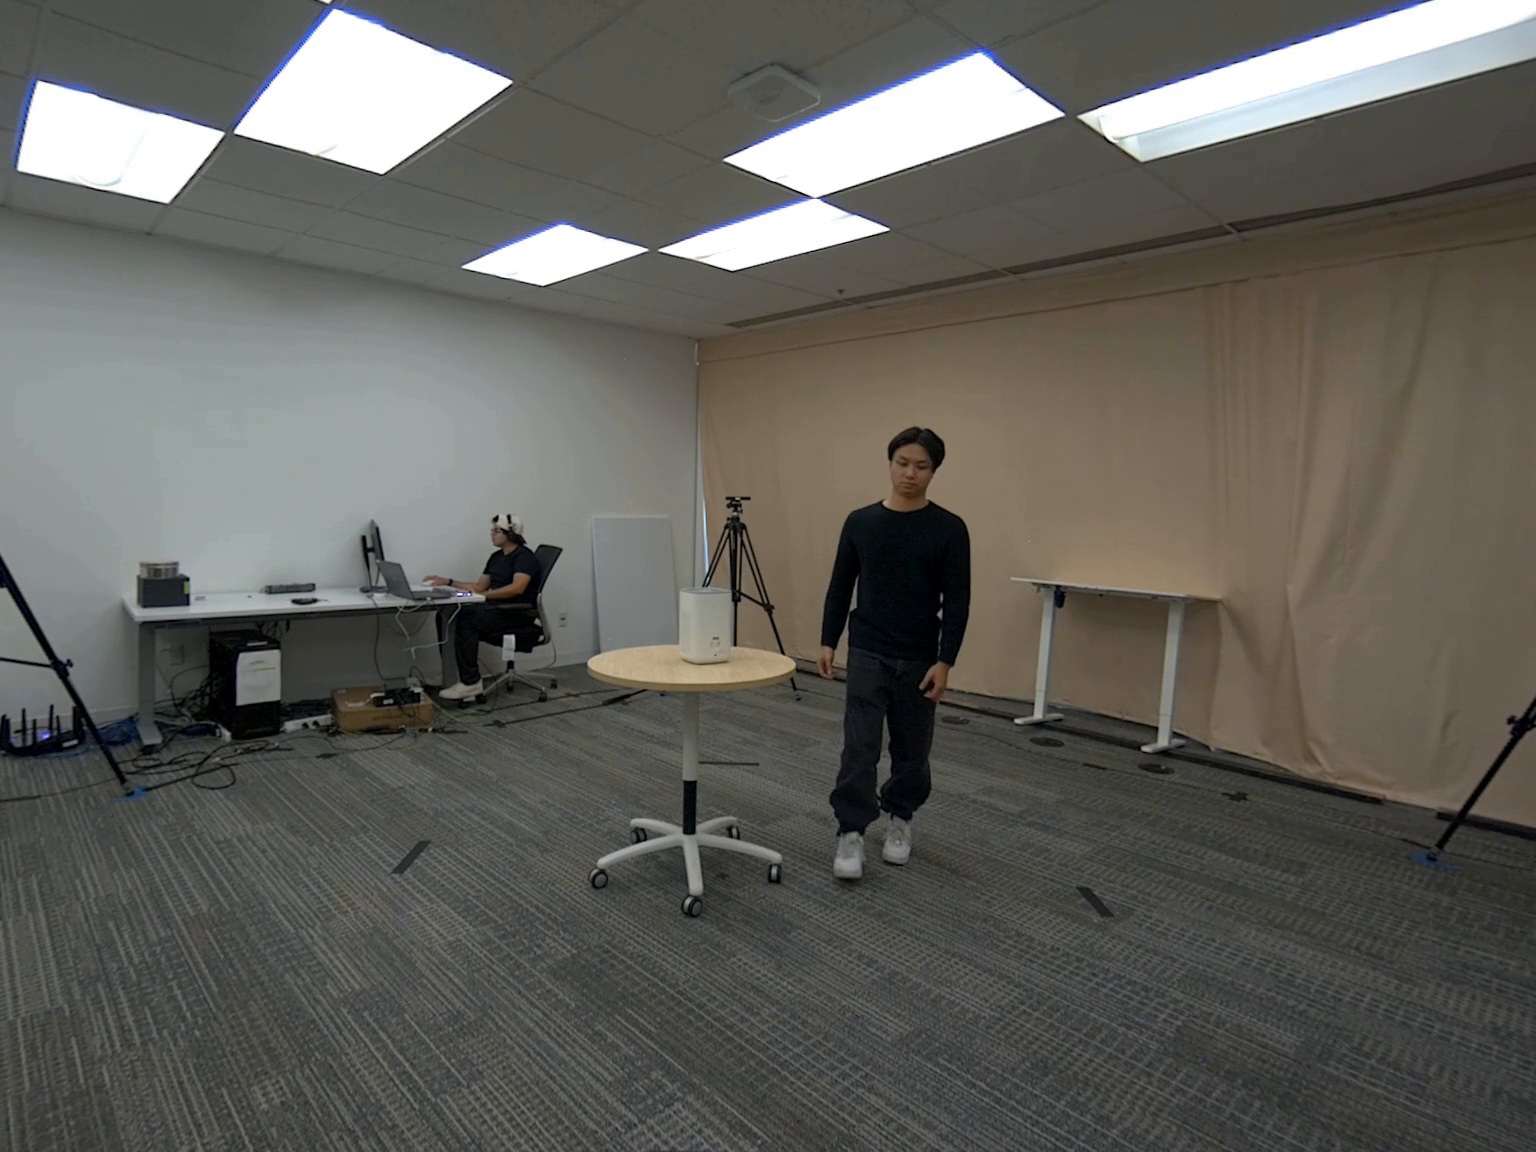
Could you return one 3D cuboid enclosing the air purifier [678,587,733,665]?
[{"bbox_3d":[-0.239,0.181,3.138,0.167,0.265,0.175,-1,3,-32],"label":"air purifier"}]
